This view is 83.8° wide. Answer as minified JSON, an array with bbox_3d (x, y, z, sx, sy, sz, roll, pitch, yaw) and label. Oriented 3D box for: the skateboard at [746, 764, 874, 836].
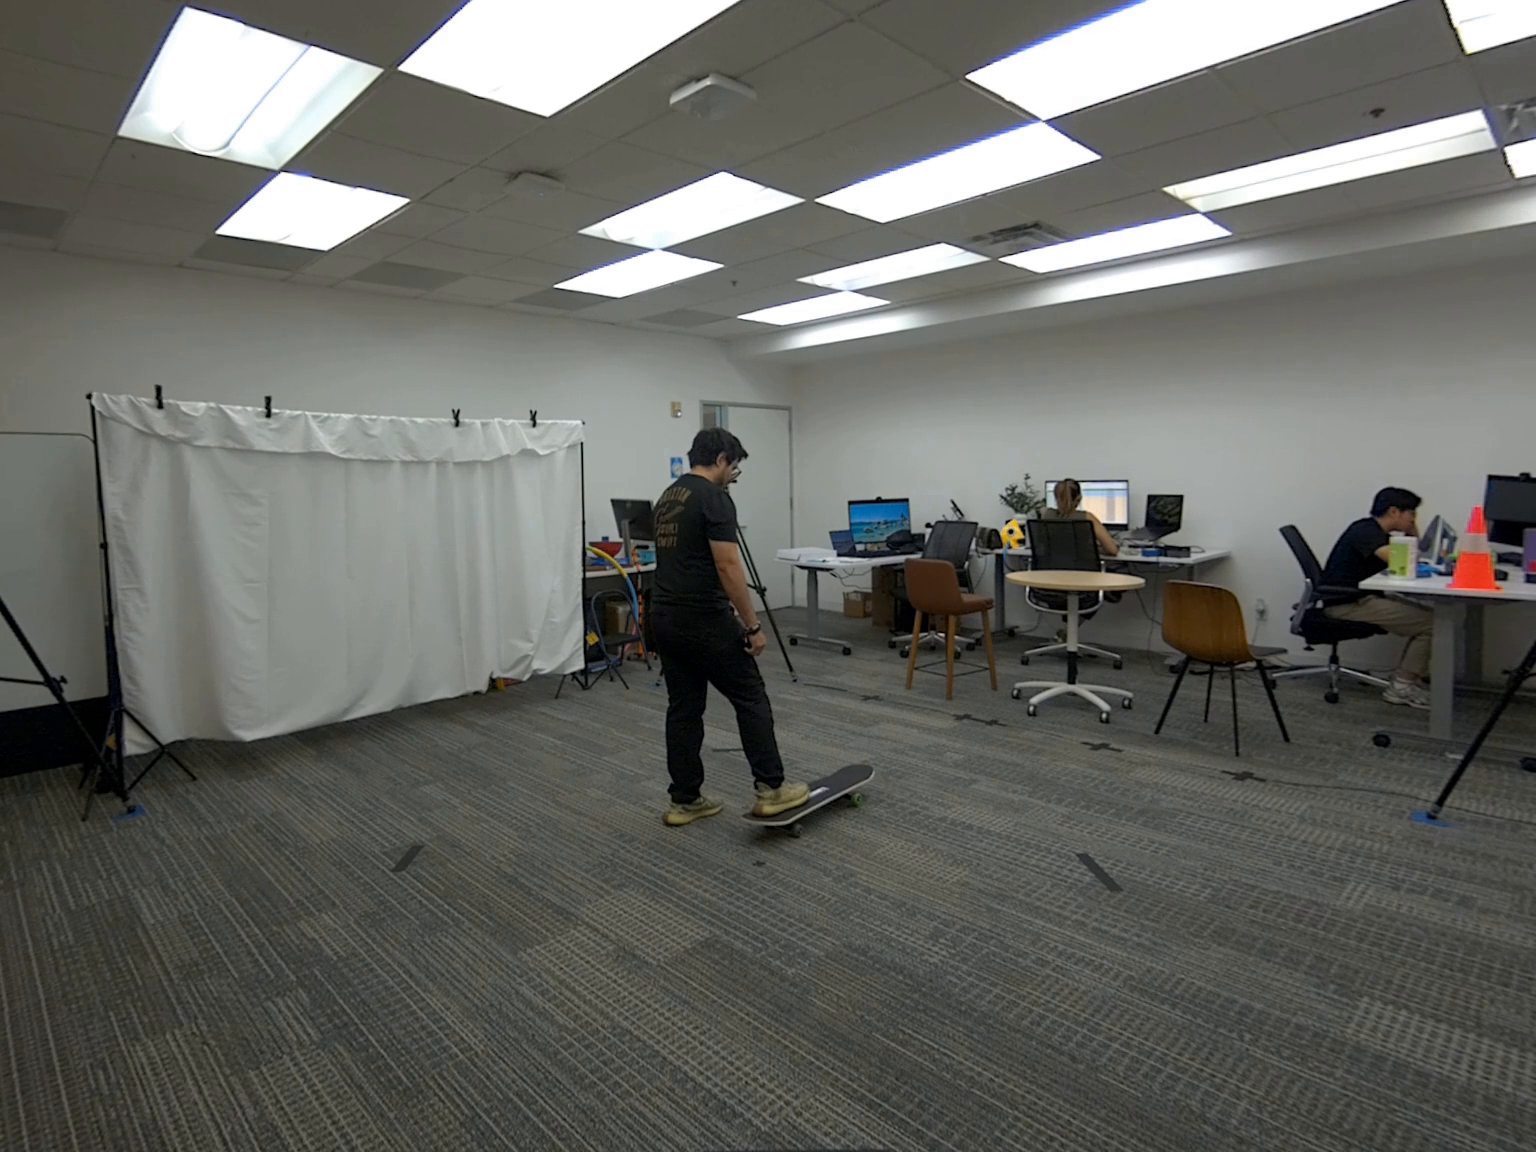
[{"bbox_3d":[0.182,0.937,3.543,0.199,0.110,0.766,-2,5,41],"label":"skateboard"}]
